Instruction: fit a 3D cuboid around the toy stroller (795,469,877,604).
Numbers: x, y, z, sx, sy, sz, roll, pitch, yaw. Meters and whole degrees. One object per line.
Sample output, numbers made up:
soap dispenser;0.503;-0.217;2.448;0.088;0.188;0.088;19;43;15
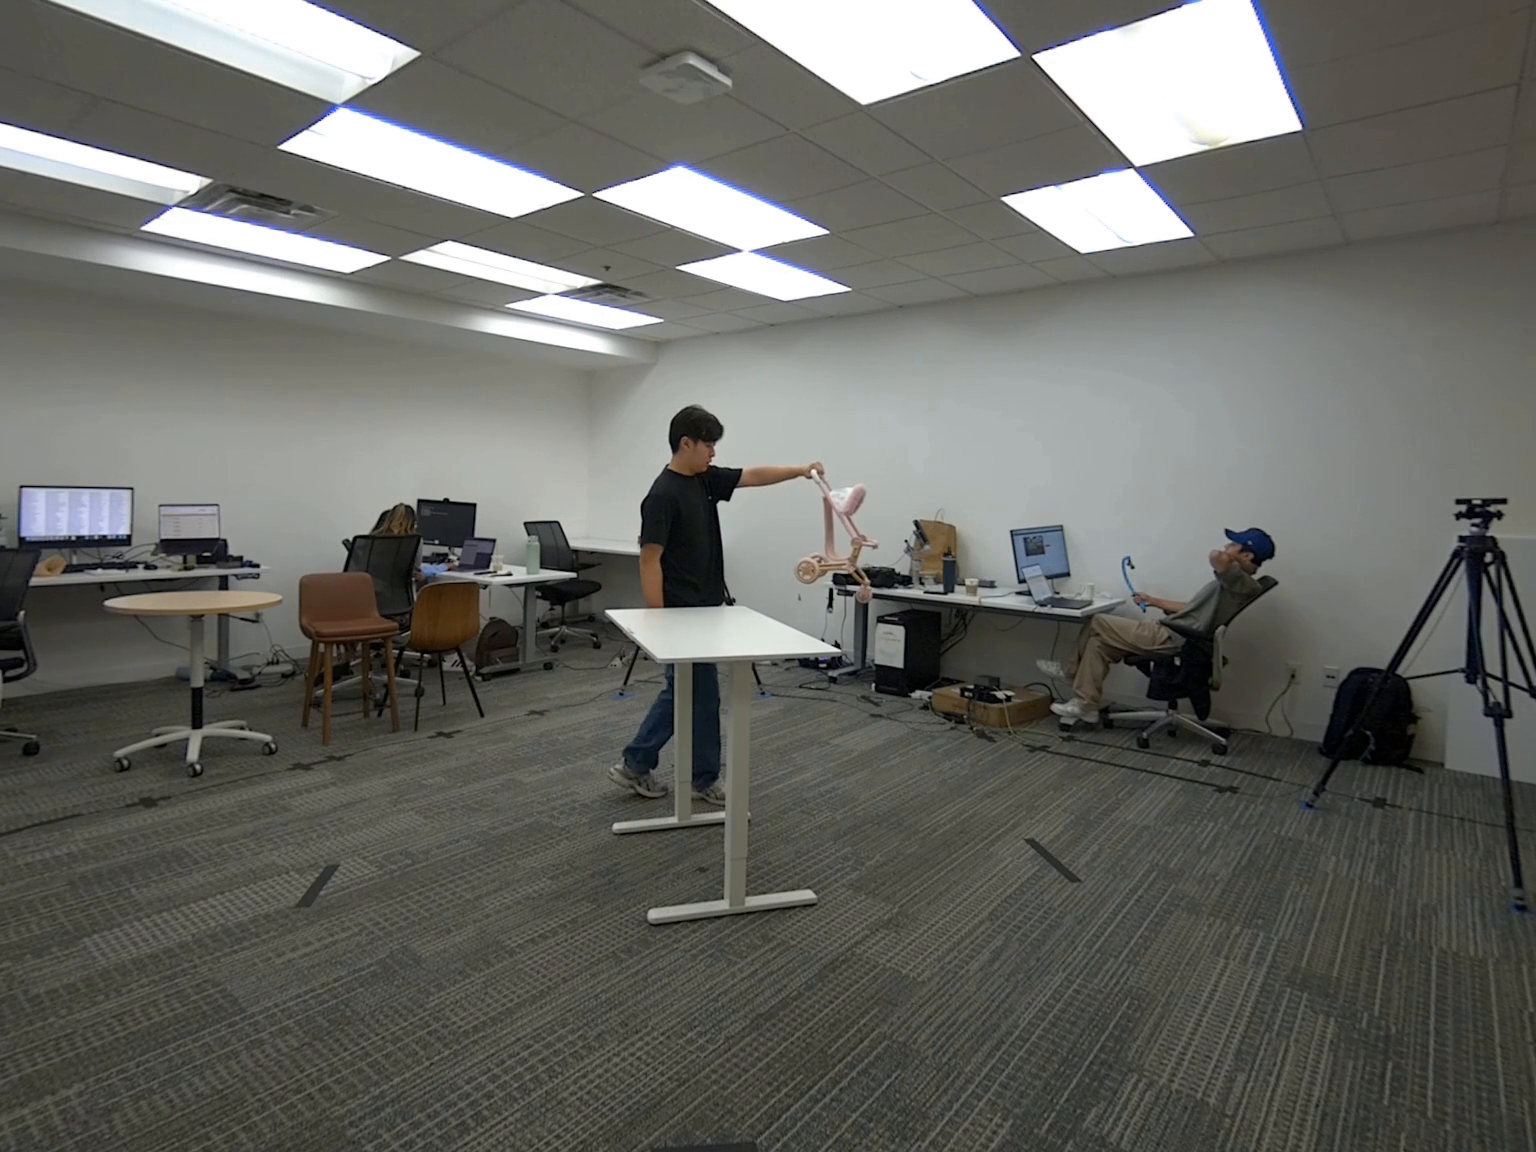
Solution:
toy stroller;0.311;-0.170;3.652;0.349;0.533;0.276;11;6;19
